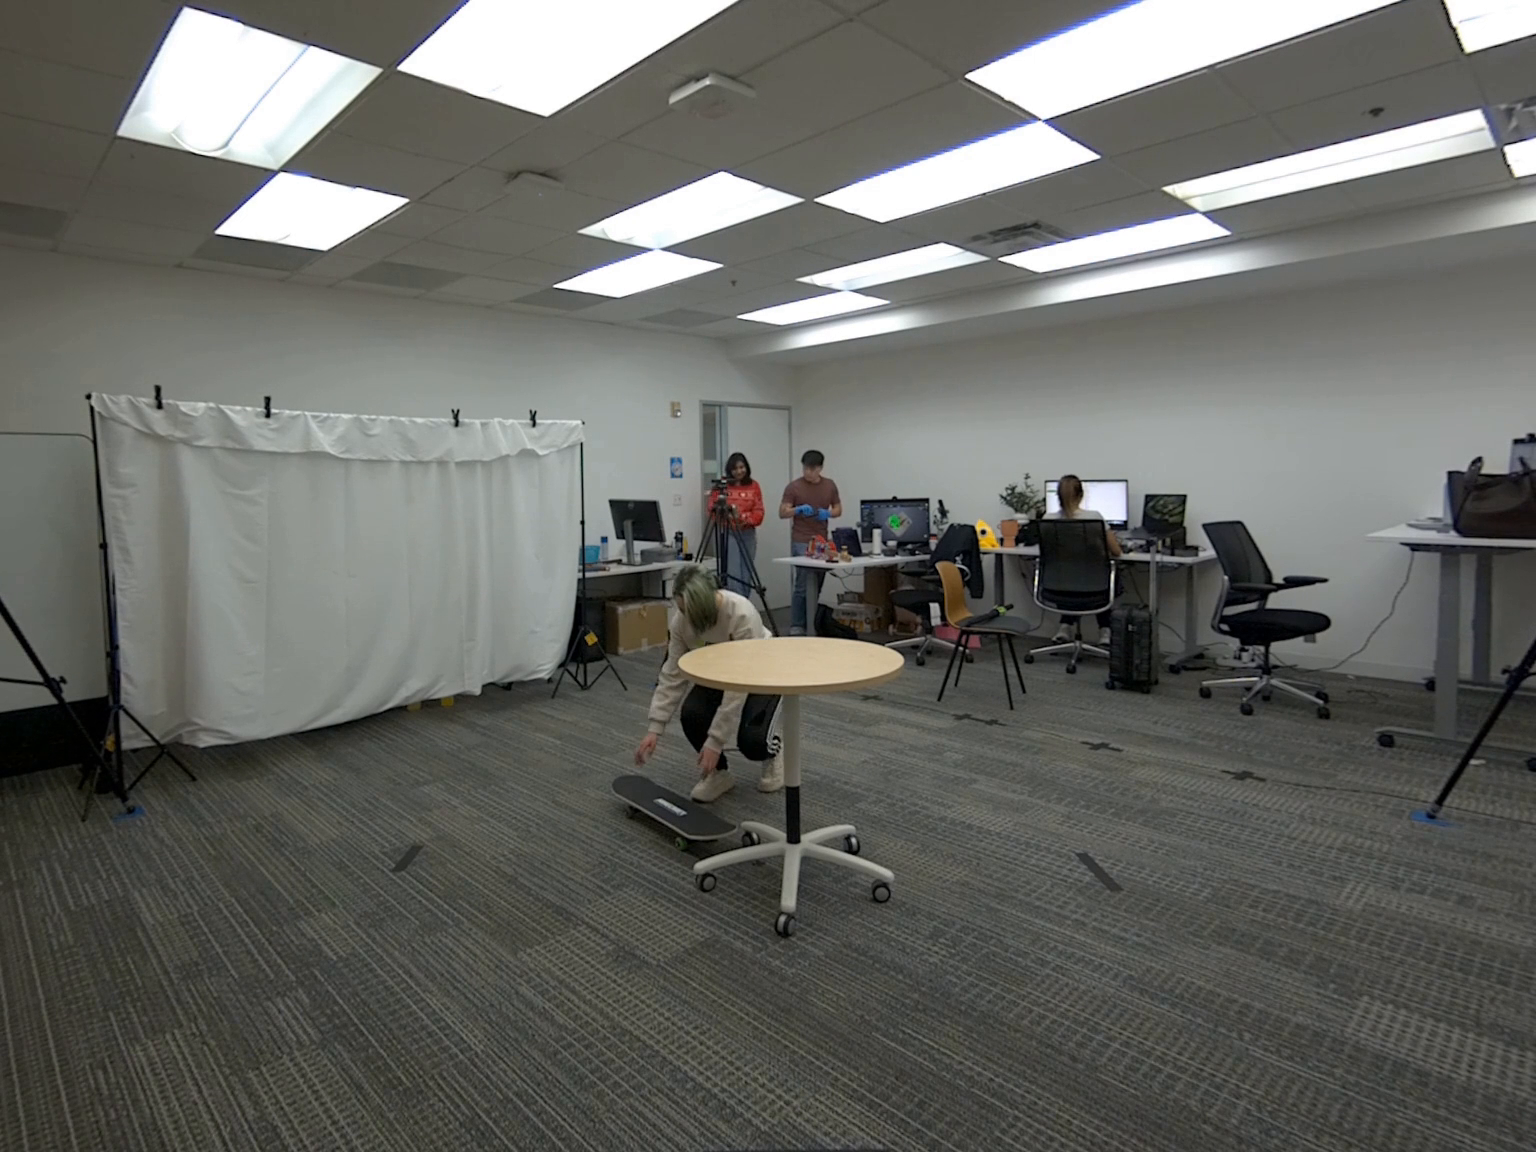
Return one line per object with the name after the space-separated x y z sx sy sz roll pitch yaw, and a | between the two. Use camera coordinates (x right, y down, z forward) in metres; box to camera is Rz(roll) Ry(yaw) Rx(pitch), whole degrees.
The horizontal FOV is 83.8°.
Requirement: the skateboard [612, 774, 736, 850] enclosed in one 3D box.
-0.384 0.962 3.437 0.188 0.110 0.809 -5 7 -37 | skateboard
